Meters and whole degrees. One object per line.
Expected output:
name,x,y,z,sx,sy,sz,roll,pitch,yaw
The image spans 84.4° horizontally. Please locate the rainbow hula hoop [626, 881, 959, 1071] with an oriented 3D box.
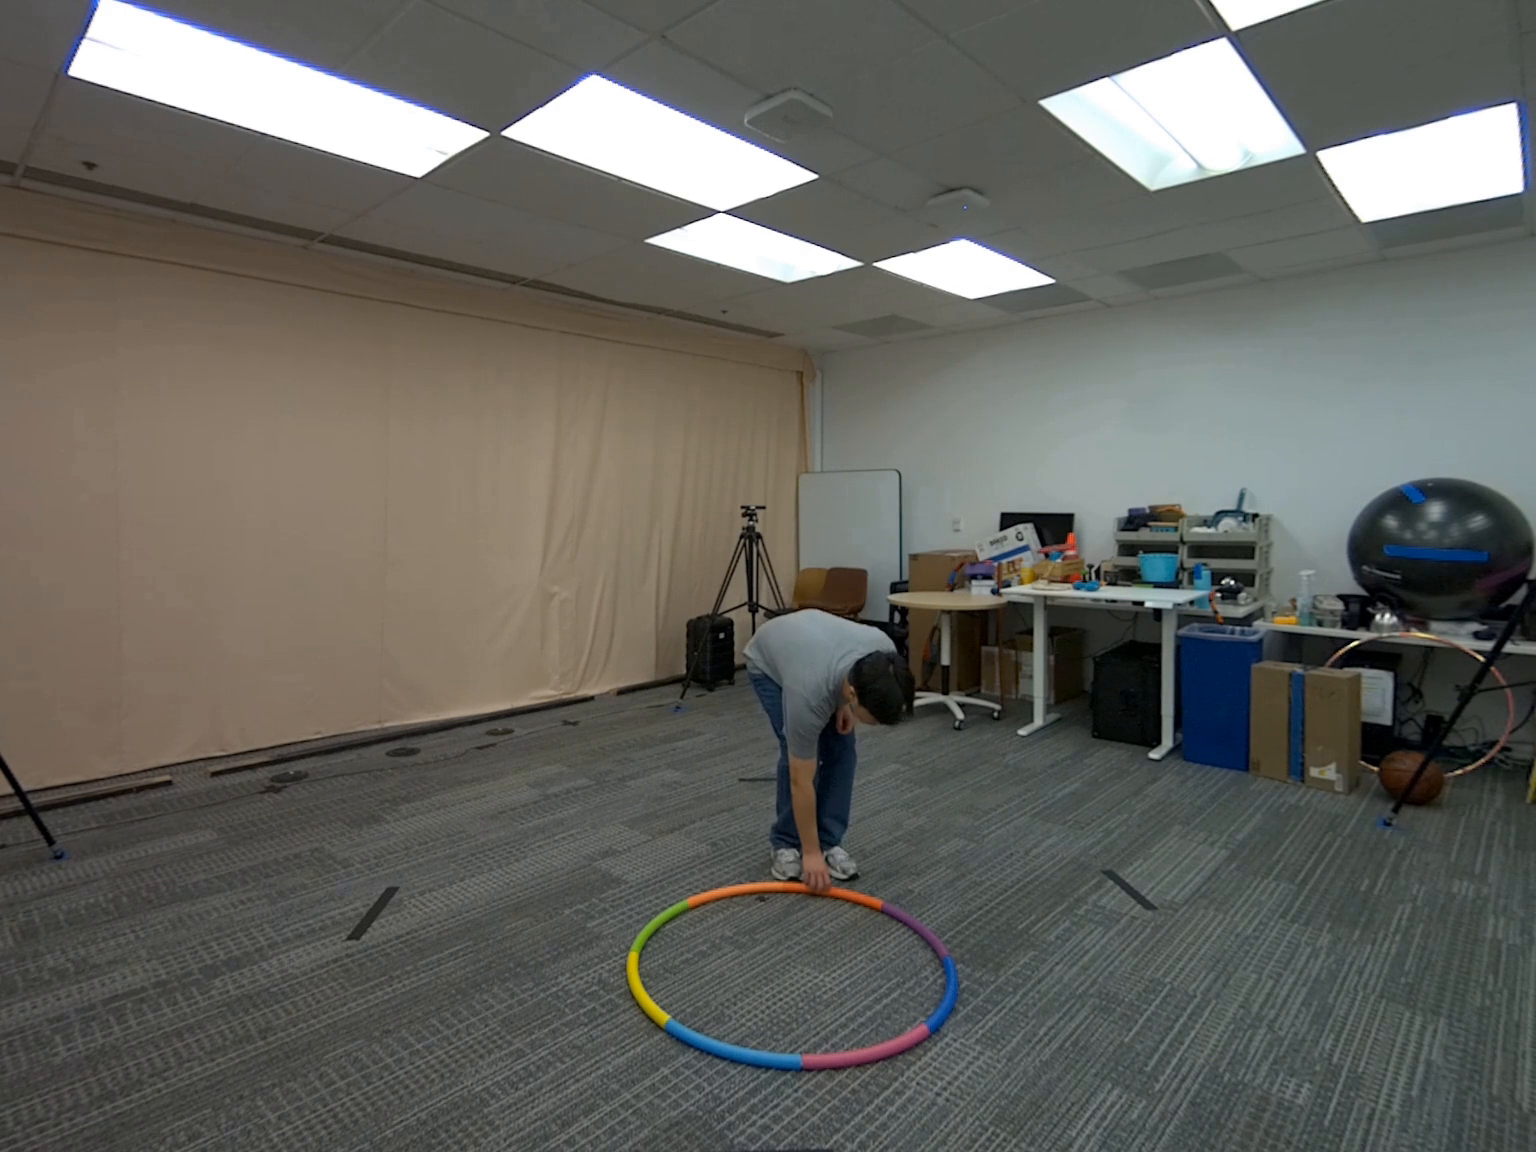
rainbow hula hoop,0.071,1.147,2.561,0.978,0.035,0.982,-1,5,-2
